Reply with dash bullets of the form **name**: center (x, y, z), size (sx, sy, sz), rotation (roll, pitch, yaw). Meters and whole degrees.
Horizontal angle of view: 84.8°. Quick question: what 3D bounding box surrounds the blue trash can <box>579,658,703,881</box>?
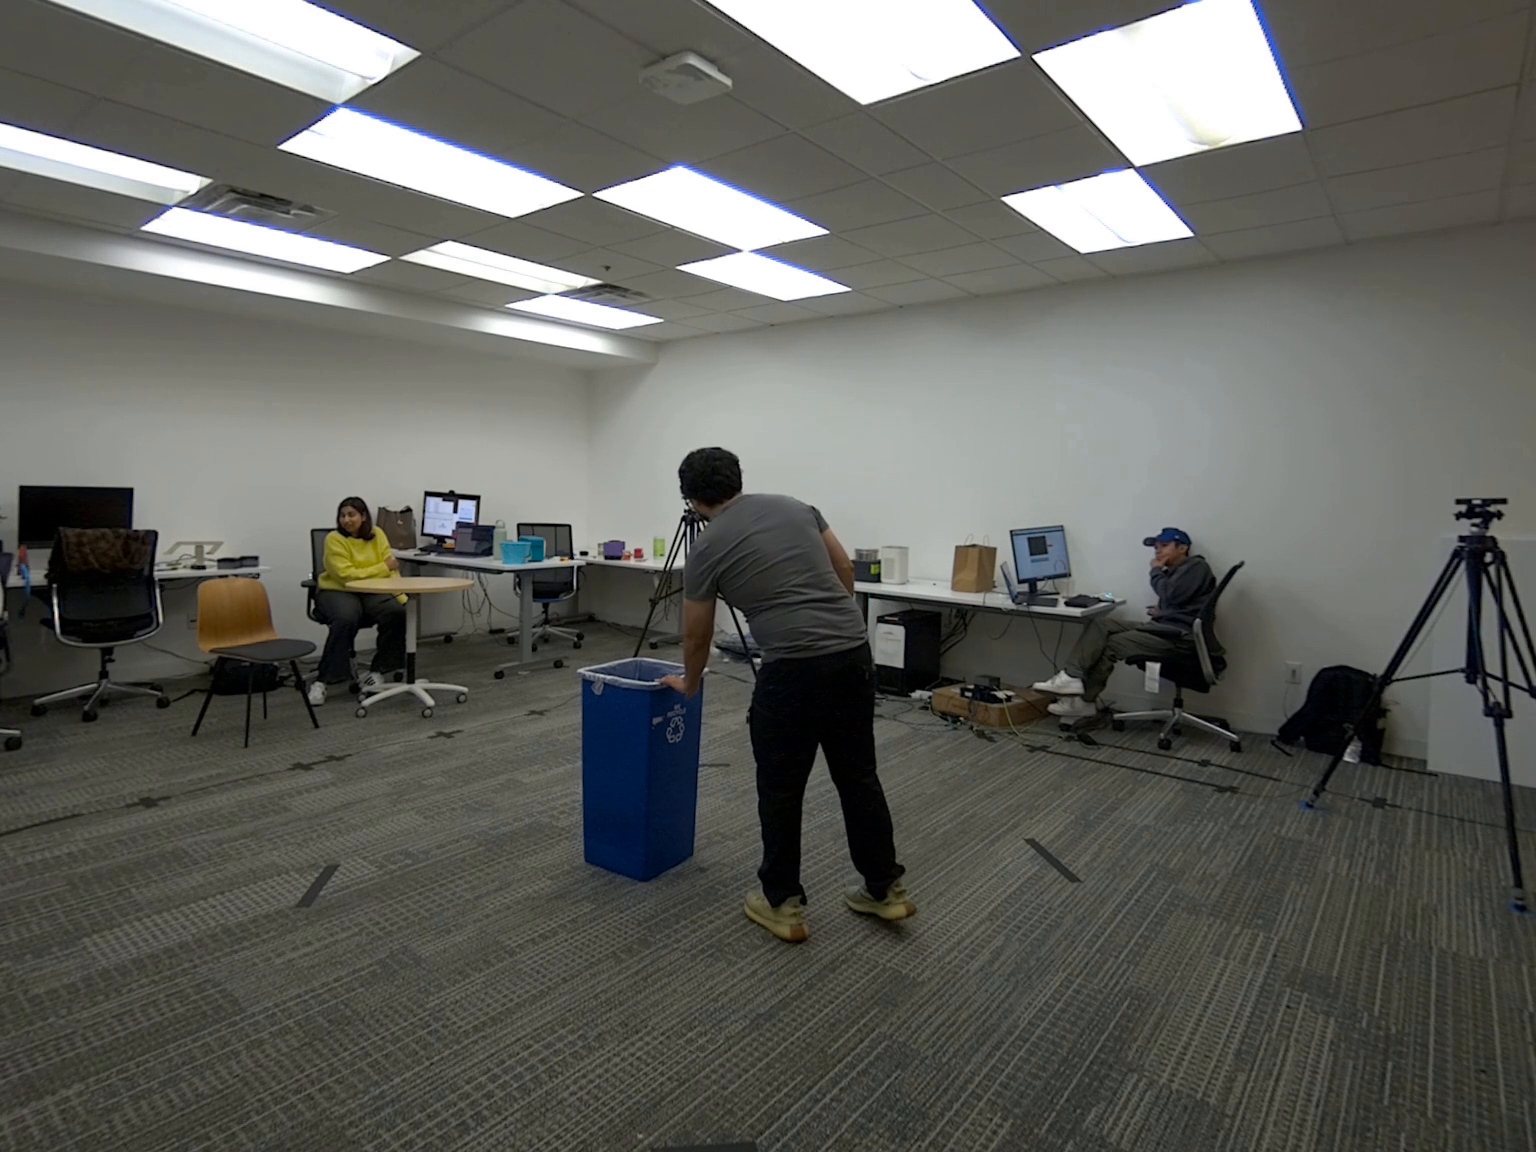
- **blue trash can**: center (-0.483, 0.699, 3.189), size (0.390, 0.712, 0.364), rotation (3, 4, 32)
